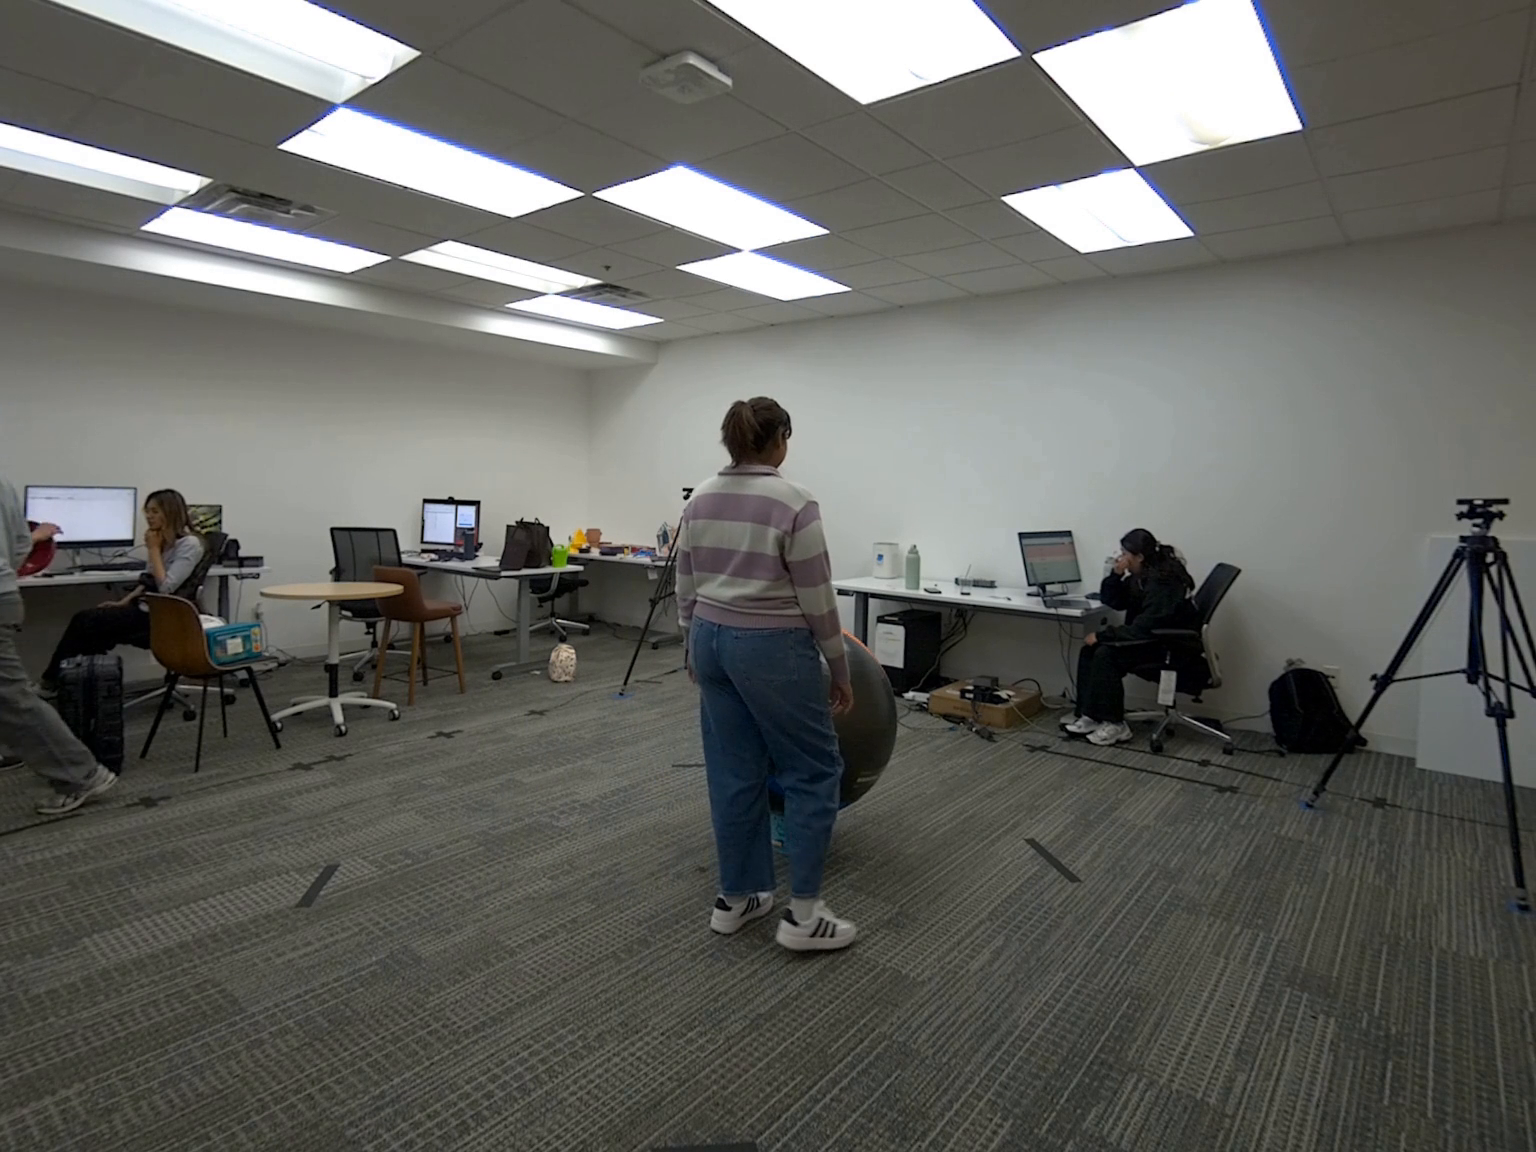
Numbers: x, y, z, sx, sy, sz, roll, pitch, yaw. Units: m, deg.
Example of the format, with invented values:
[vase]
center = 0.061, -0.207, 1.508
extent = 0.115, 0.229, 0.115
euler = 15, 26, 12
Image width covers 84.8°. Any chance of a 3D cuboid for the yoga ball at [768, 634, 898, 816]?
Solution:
[yoga ball]
center = 0.115, 0.539, 3.312
extent = 0.757, 0.756, 0.762
euler = 1, 4, -2
